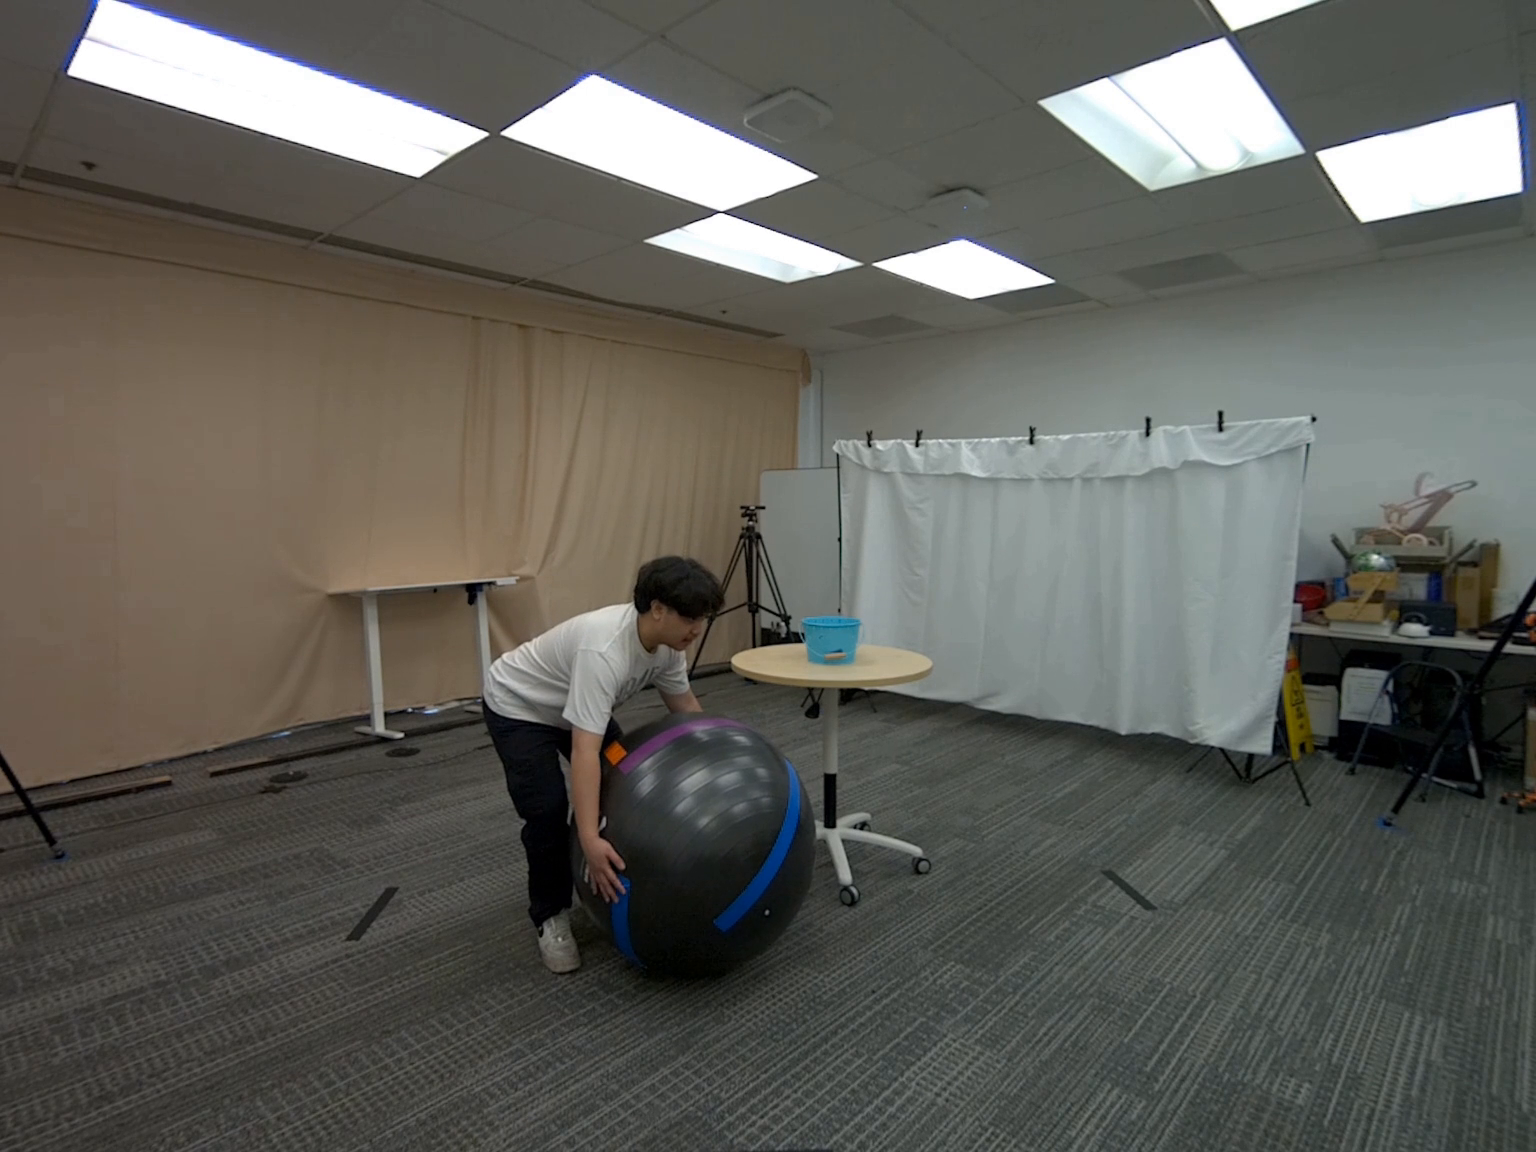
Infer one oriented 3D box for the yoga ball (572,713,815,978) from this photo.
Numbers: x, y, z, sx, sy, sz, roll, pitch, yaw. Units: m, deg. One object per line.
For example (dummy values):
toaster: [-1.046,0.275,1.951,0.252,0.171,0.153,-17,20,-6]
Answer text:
yoga ball: [-0.227,0.813,2.577,0.757,0.756,0.761,0,4,-2]
